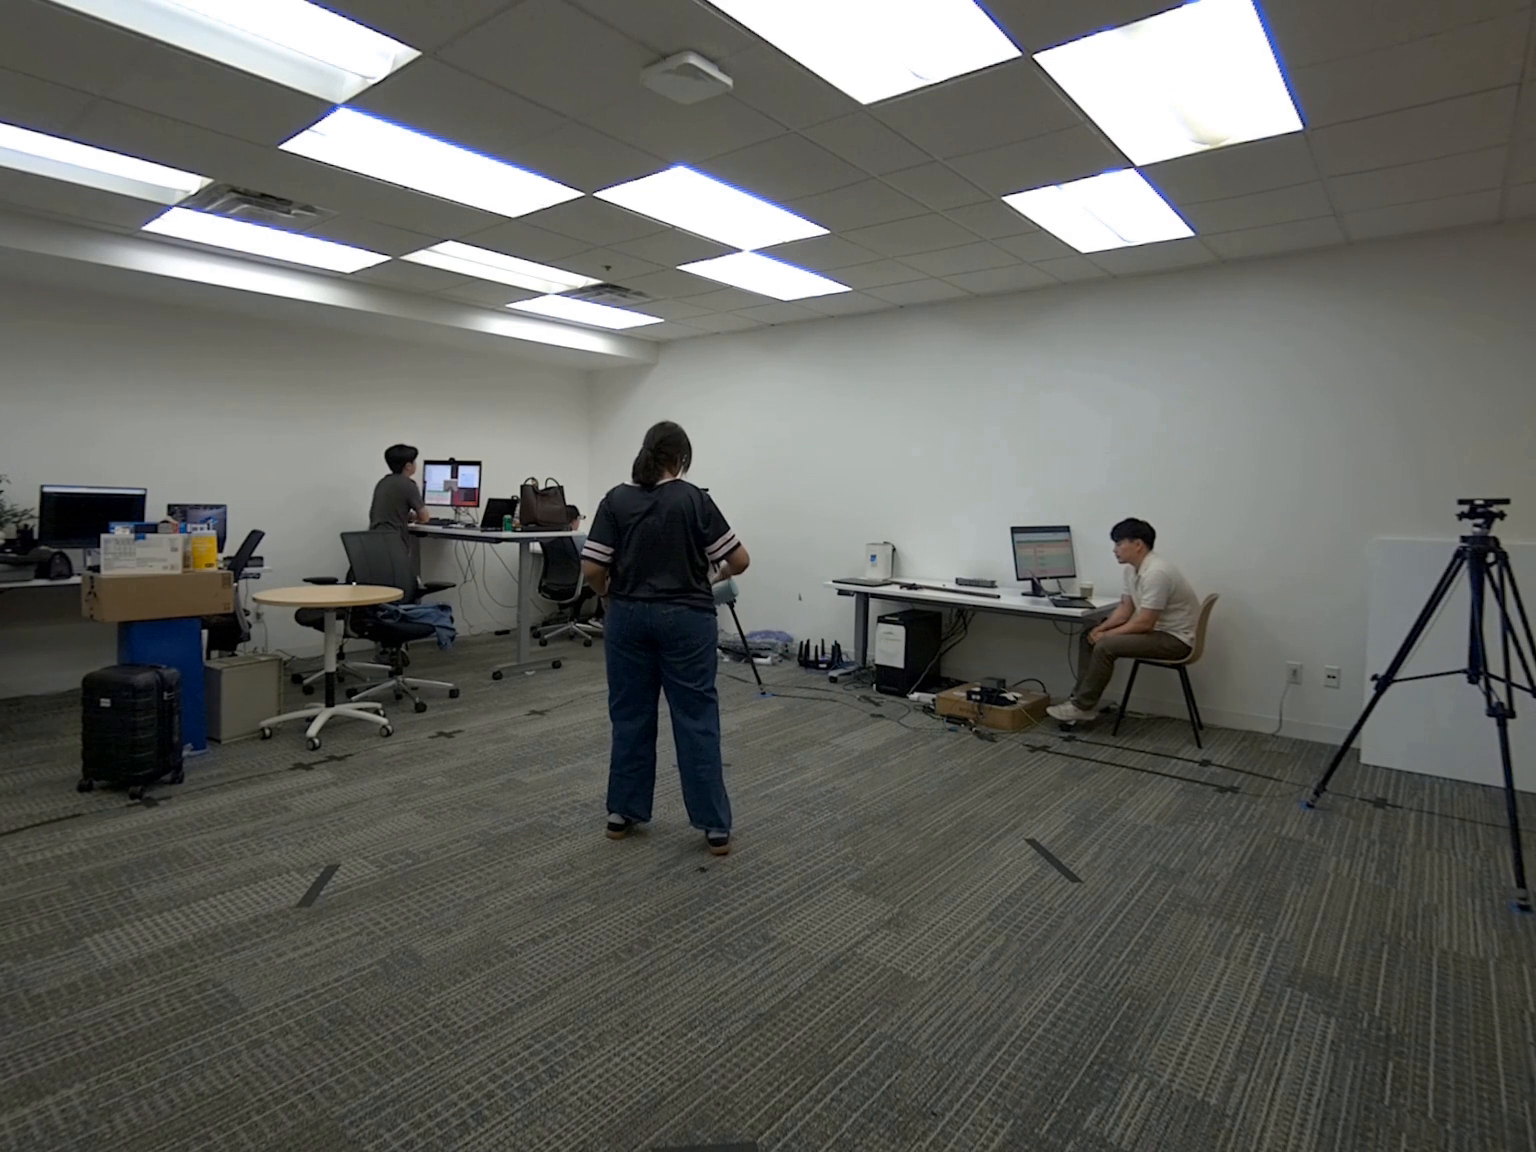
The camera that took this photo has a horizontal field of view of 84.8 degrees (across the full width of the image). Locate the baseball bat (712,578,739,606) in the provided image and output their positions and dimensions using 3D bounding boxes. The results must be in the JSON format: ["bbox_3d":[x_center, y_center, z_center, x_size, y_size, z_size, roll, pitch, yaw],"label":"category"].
[{"bbox_3d":[-0.349,0.135,3.673,0.549,0.090,0.087,-23,-5,21],"label":"baseball bat"}]
